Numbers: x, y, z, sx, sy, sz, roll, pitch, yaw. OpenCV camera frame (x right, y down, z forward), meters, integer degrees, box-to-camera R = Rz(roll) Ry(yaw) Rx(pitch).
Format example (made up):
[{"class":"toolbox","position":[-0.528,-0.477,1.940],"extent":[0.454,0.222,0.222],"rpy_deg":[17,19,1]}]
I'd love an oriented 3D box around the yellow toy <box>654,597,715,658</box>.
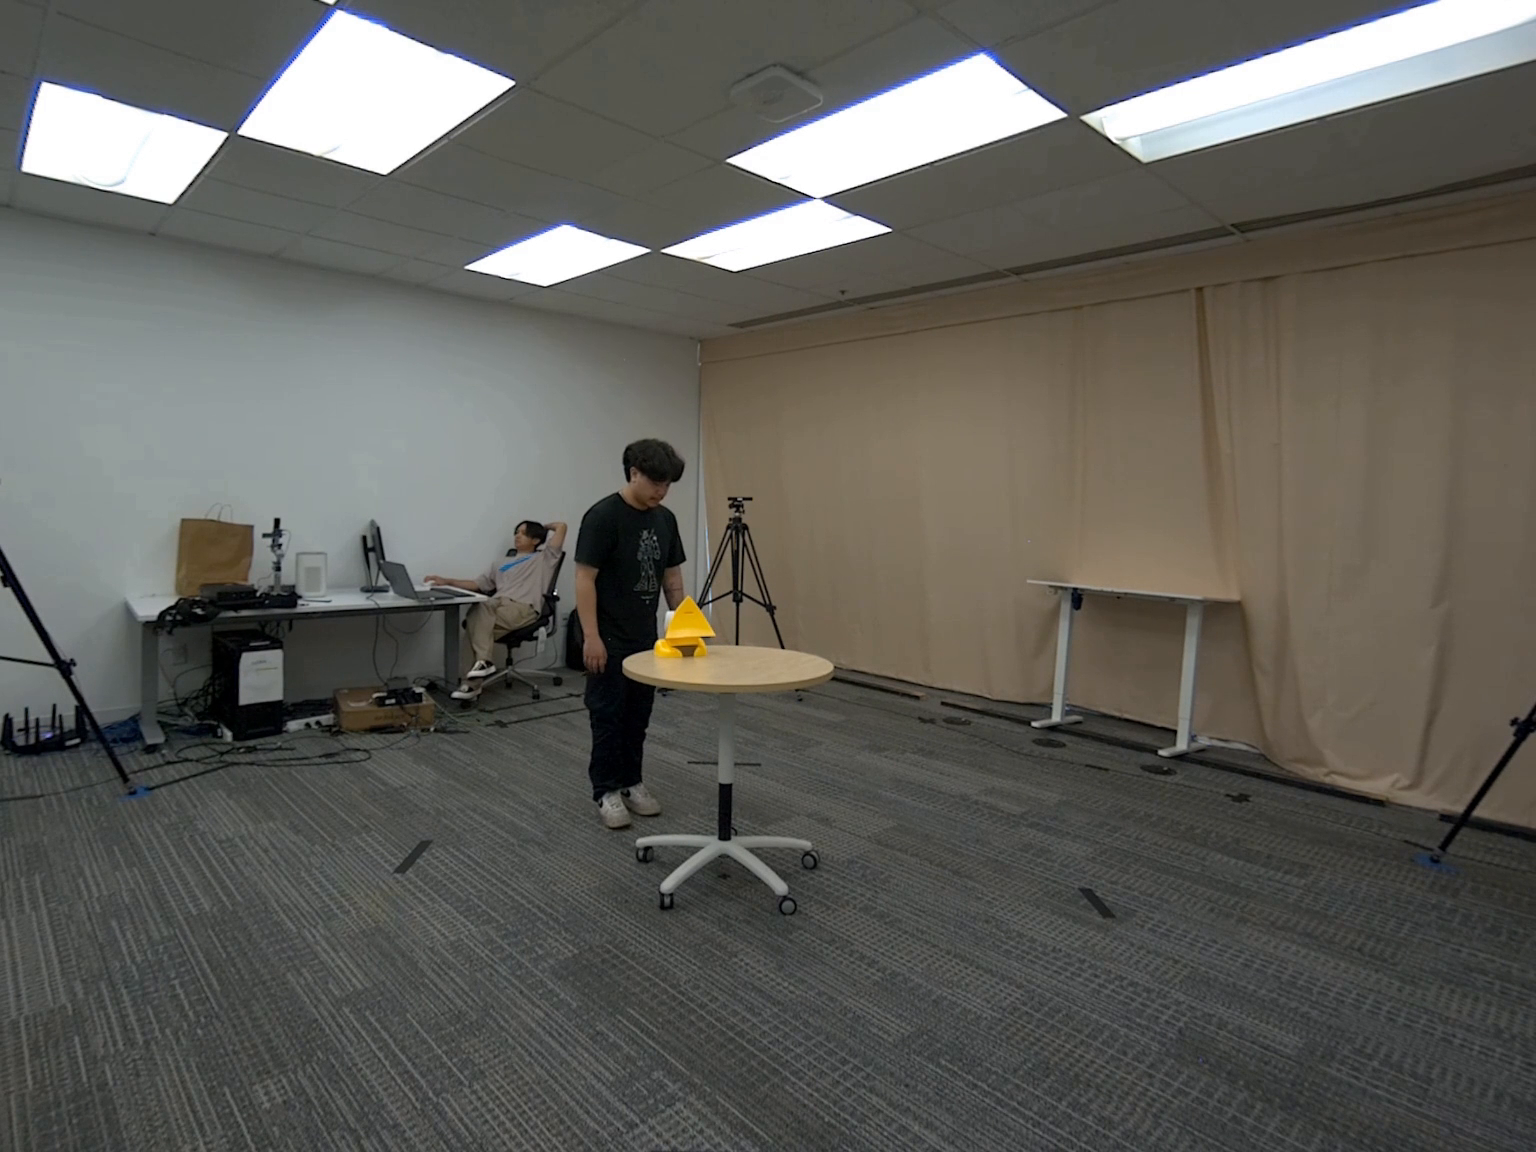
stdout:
[{"class":"yellow toy","position":[-0.341,0.187,3.227],"extent":[0.201,0.230,0.197],"rpy_deg":[-1,4,-28]}]
